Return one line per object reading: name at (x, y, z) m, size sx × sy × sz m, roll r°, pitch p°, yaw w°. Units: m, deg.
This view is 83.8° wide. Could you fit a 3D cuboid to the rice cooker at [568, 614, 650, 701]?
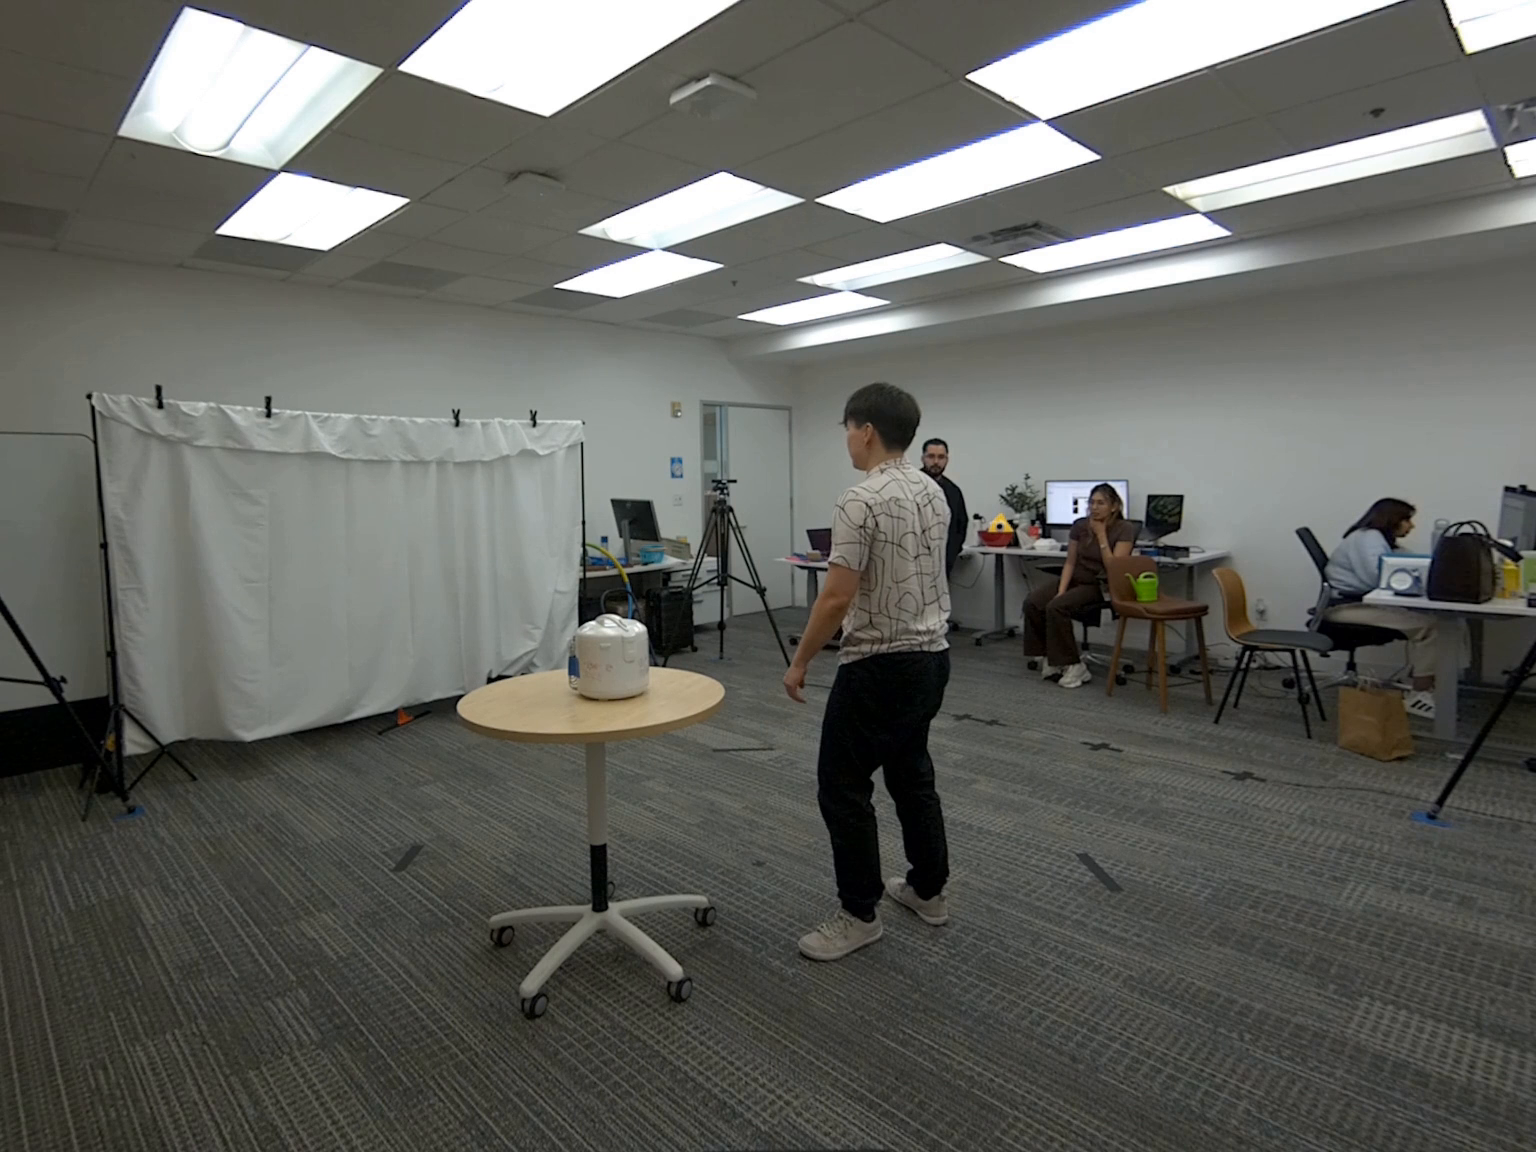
rice cooker at (-0.447, 0.229, 2.482) m, size 0.212 × 0.231 × 0.227 m, roll -7°, pitch 8°, yaw -38°
